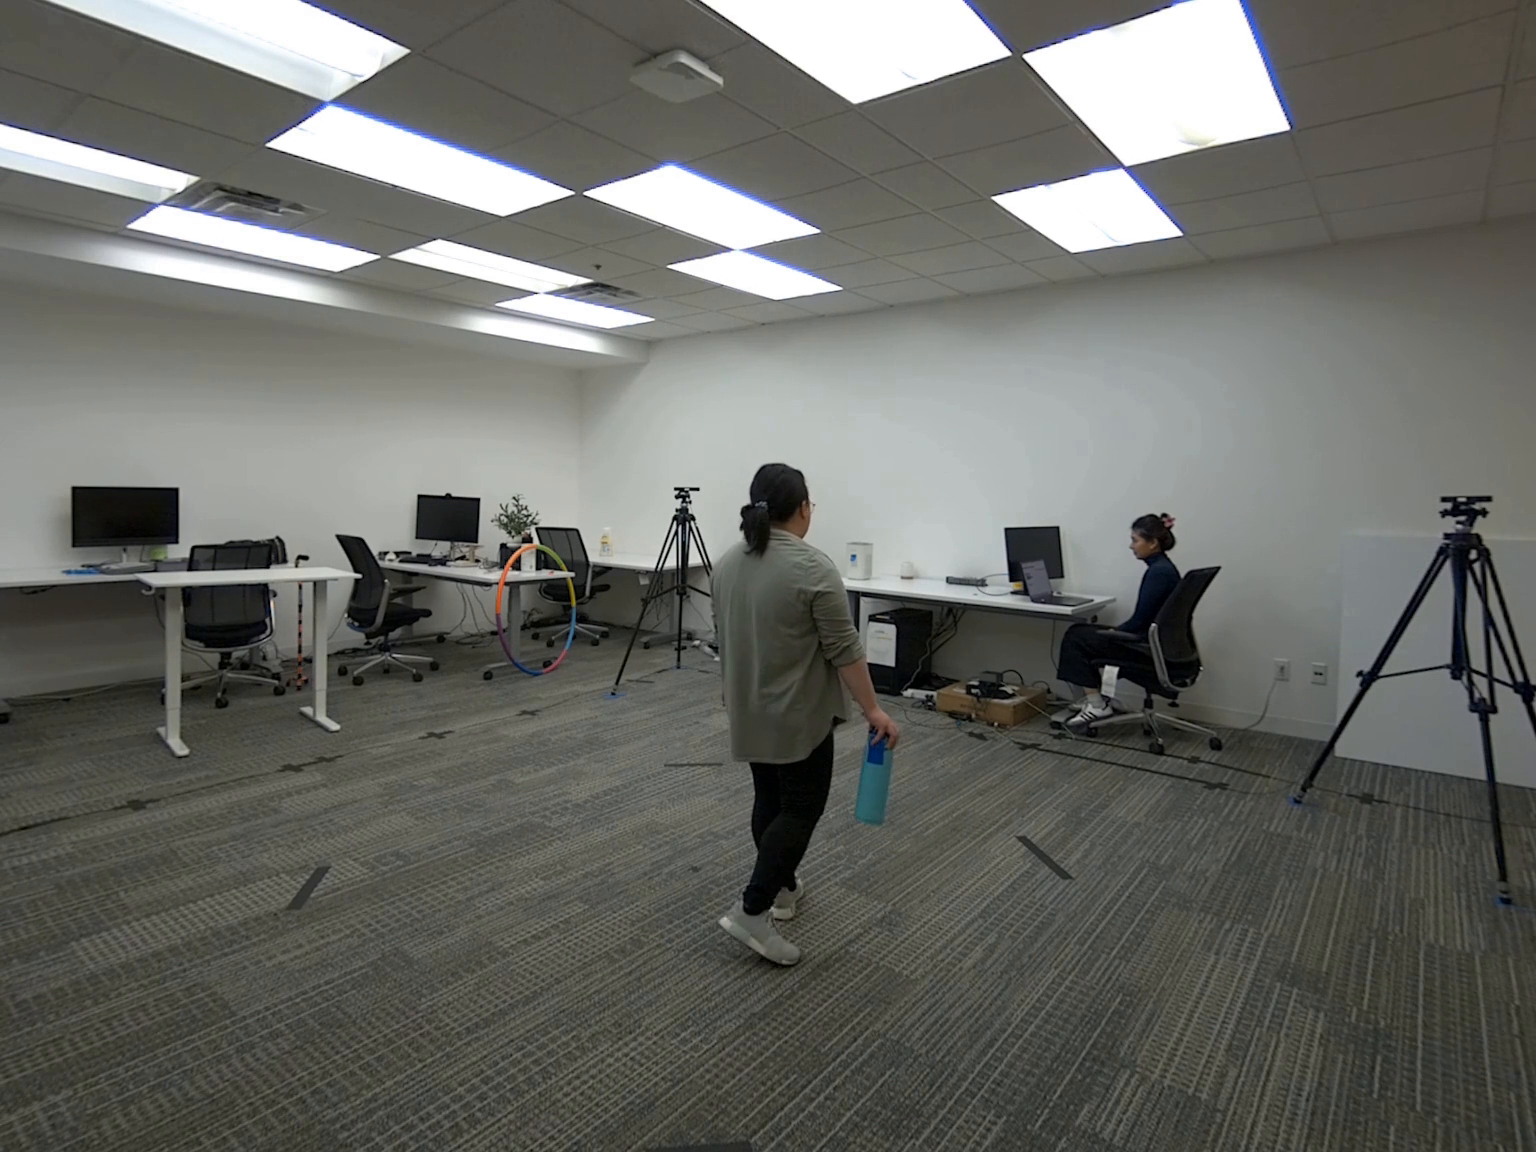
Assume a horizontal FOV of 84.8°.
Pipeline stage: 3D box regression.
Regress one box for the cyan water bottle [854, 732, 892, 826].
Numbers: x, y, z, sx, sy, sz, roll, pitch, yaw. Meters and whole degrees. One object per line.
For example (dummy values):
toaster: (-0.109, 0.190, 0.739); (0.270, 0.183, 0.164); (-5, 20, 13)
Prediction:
cyan water bottle: (0.322, 0.591, 2.546); (0.092, 0.284, 0.092); (6, -2, -2)
